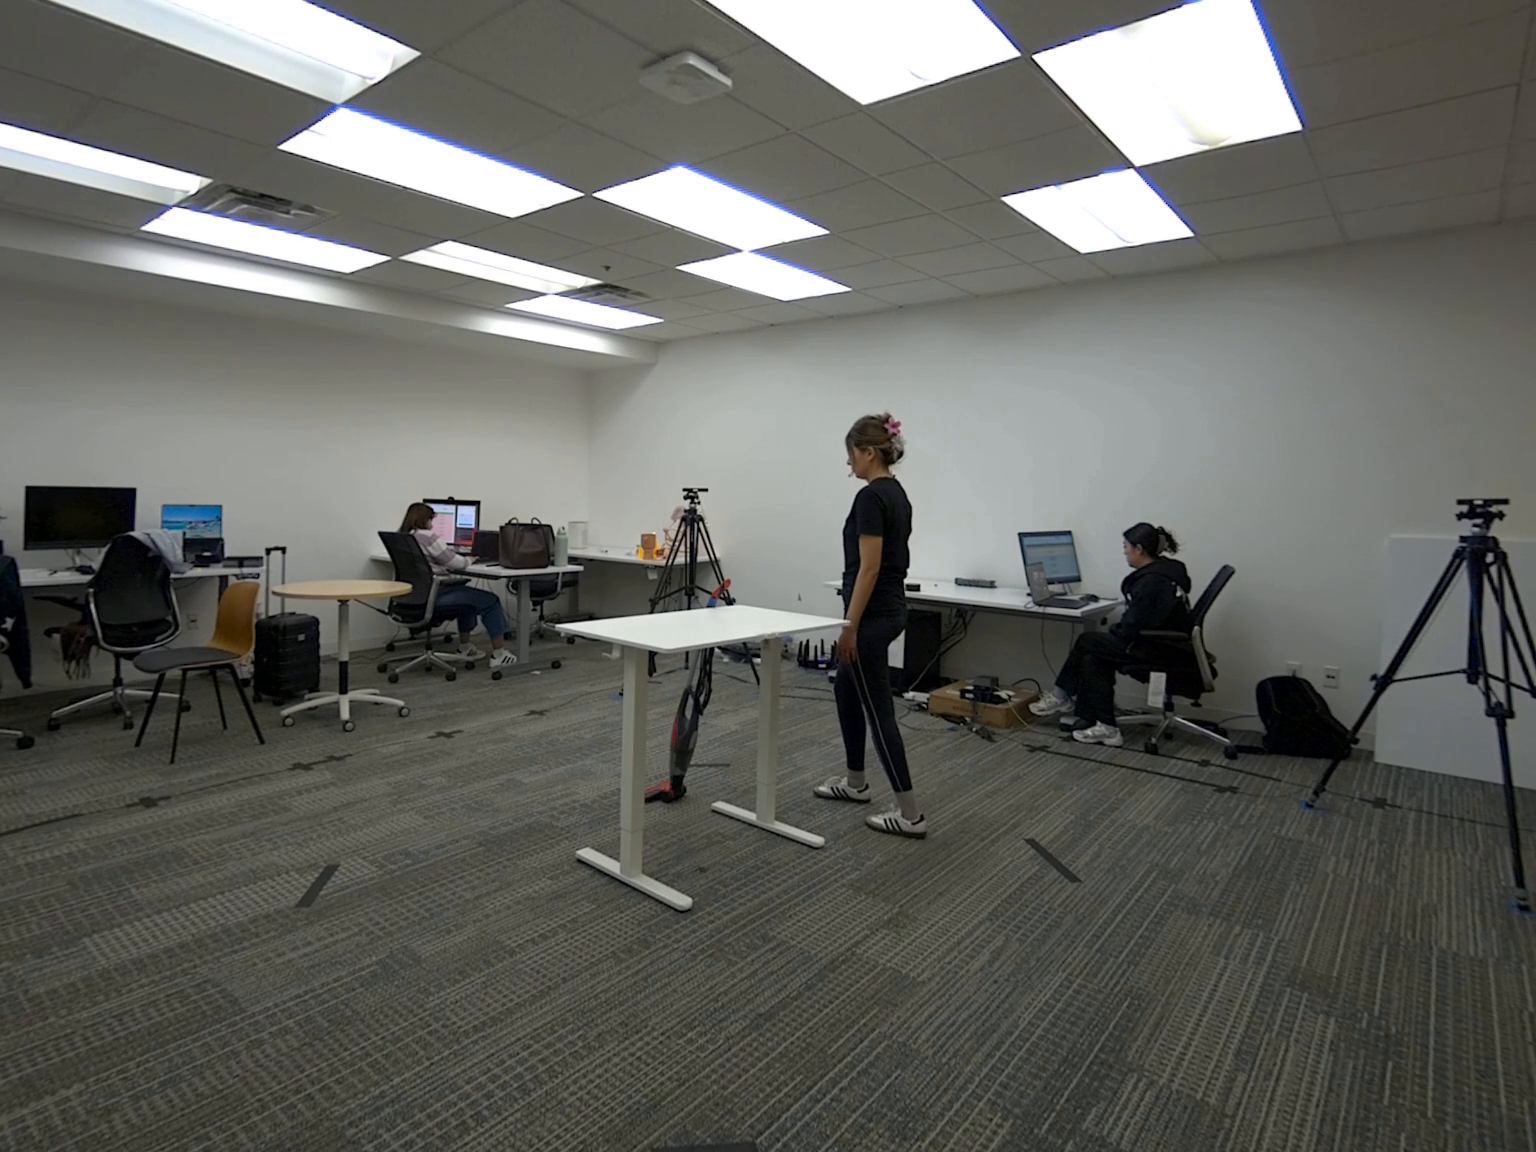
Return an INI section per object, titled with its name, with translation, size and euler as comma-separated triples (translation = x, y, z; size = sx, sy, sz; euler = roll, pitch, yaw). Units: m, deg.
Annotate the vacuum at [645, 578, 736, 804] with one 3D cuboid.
[vacuum]
translation = -0.331, 0.512, 3.749
size = 0.149, 1.041, 0.246
euler = 24, 14, 26
